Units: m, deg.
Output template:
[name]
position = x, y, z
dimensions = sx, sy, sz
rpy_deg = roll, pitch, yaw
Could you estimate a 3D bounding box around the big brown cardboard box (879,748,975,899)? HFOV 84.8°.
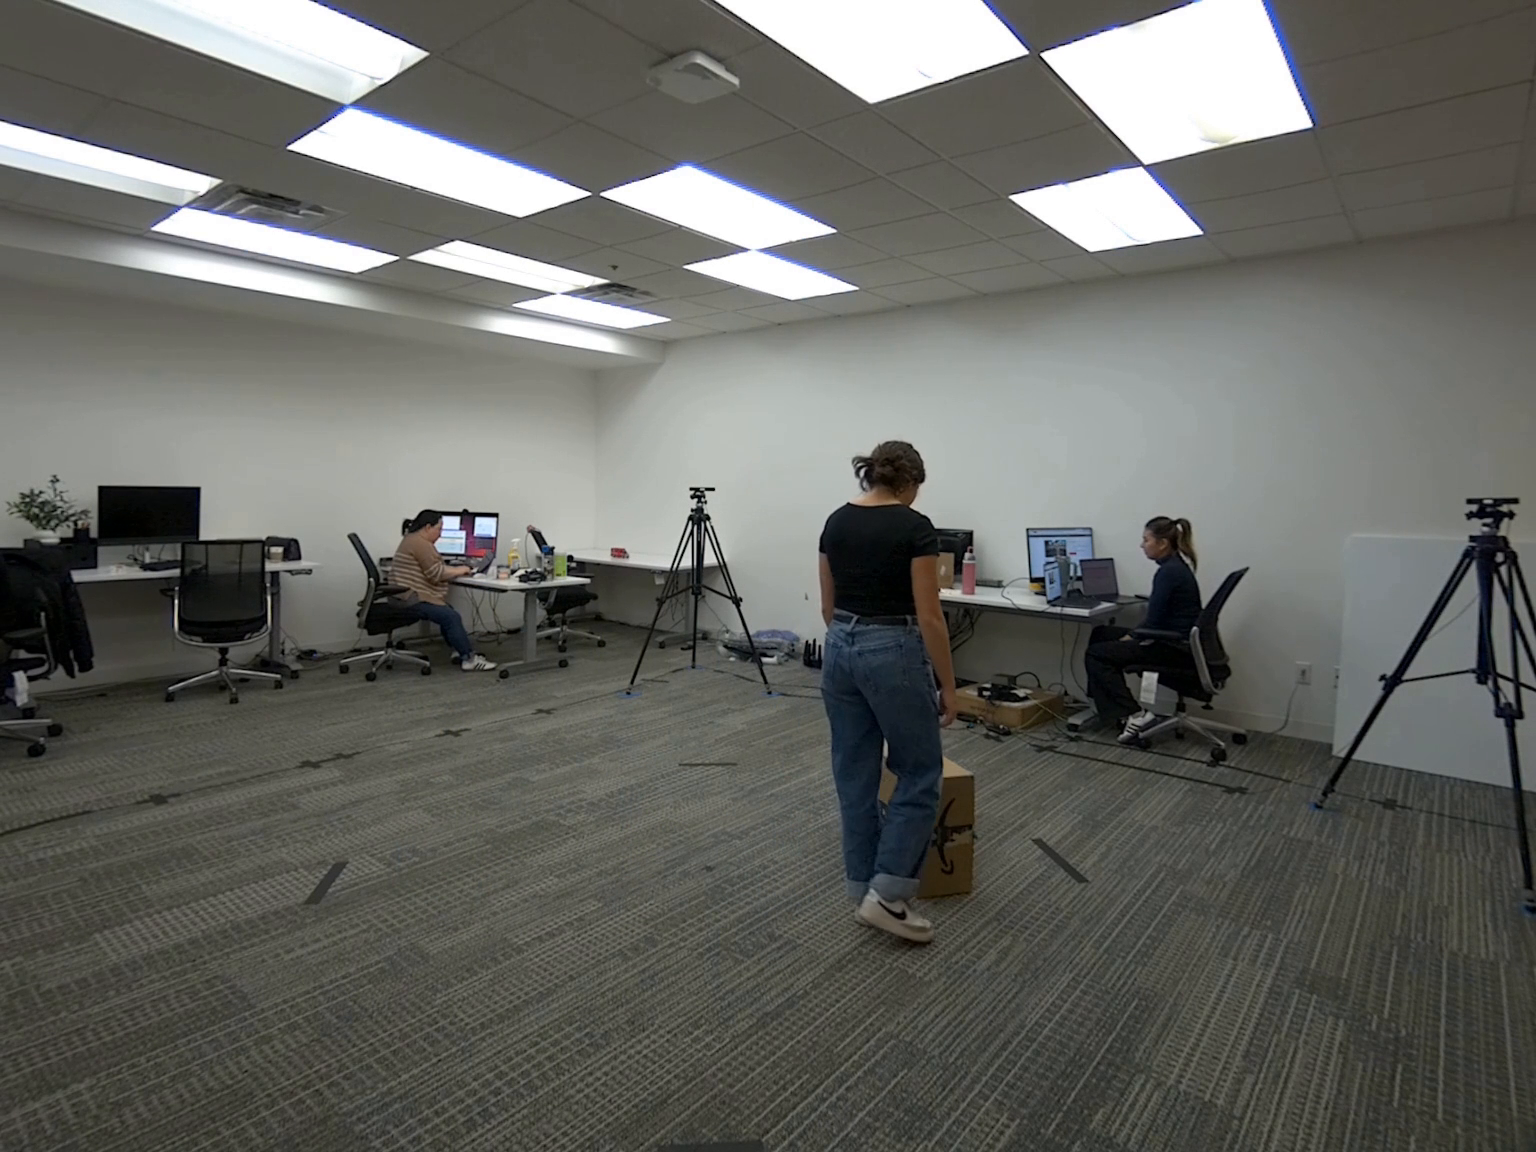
[big brown cardboard box]
position = 0.517, 0.860, 3.207
dimensions = 0.229, 0.416, 0.601
rpy_deg = -1, 6, -17
